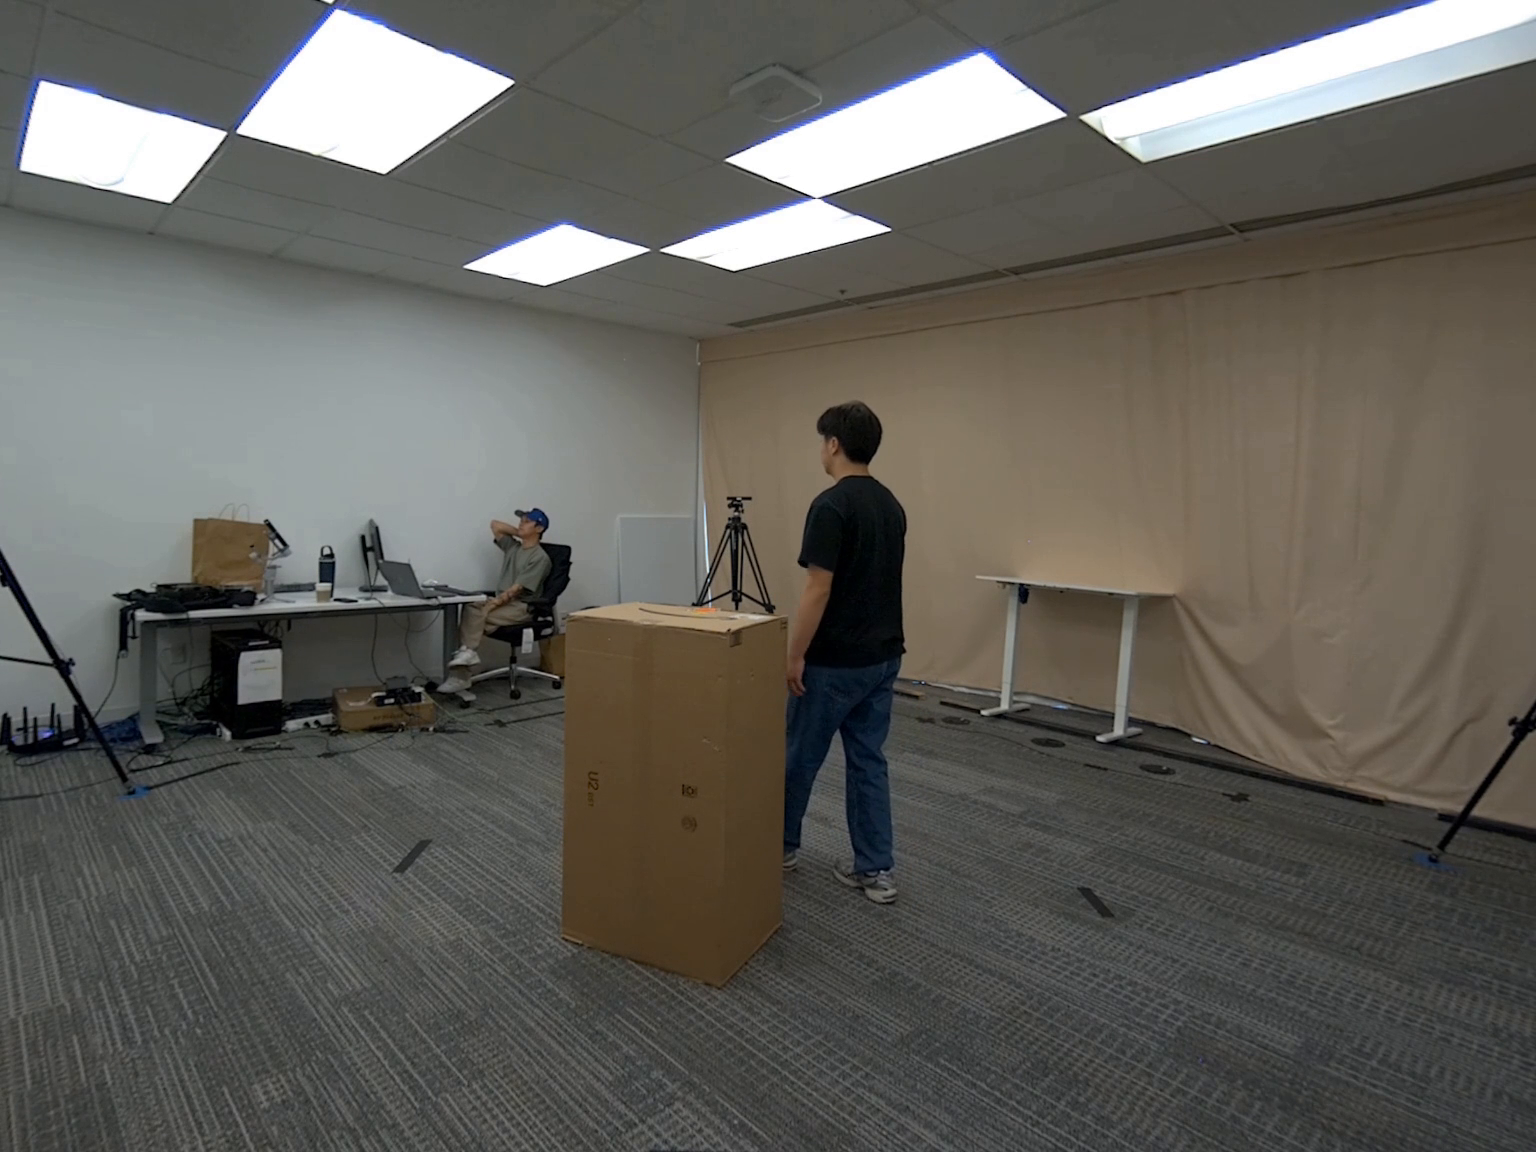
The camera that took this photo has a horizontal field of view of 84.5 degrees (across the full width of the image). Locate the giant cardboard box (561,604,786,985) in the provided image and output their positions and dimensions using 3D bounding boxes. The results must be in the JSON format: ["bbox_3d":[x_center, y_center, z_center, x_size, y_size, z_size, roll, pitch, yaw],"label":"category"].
[{"bbox_3d":[-0.296,0.630,2.676,0.596,1.025,0.438,3,3,28],"label":"giant cardboard box"}]
